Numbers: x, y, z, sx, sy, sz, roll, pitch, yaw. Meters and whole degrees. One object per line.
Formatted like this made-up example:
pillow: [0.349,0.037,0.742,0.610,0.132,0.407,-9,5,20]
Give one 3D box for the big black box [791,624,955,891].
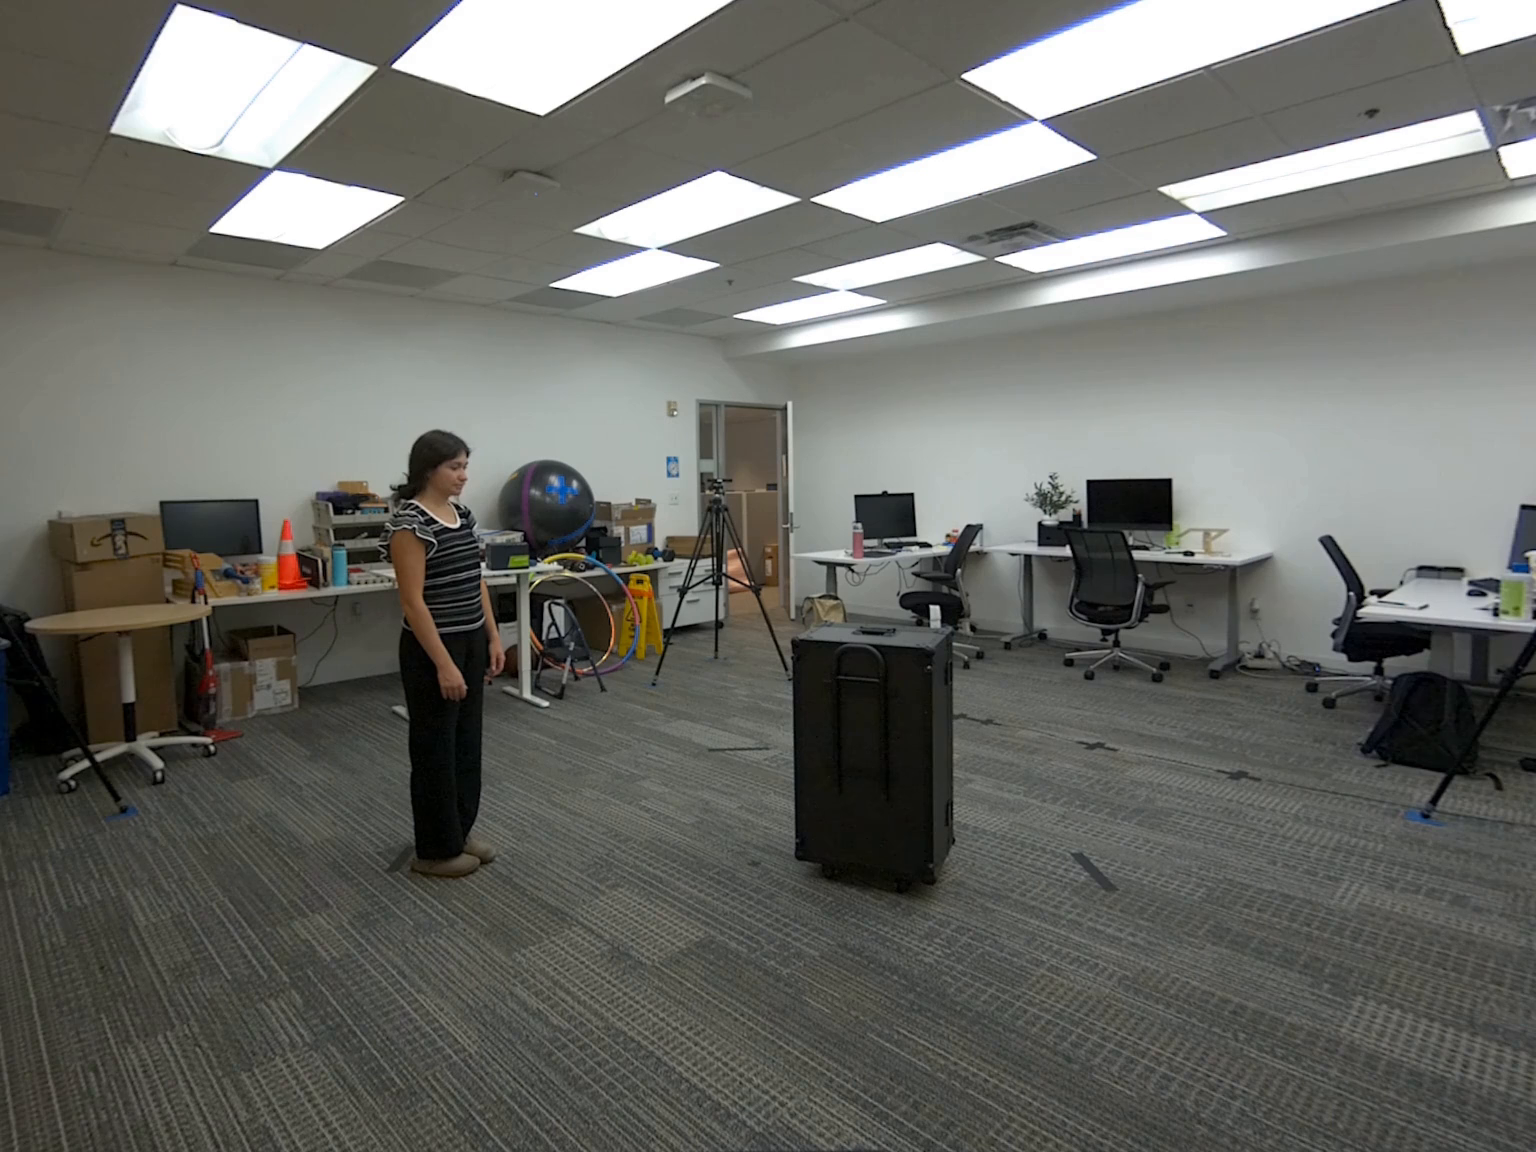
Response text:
big black box: [0.377,0.618,2.997,0.533,0.857,0.389,1,6,24]
